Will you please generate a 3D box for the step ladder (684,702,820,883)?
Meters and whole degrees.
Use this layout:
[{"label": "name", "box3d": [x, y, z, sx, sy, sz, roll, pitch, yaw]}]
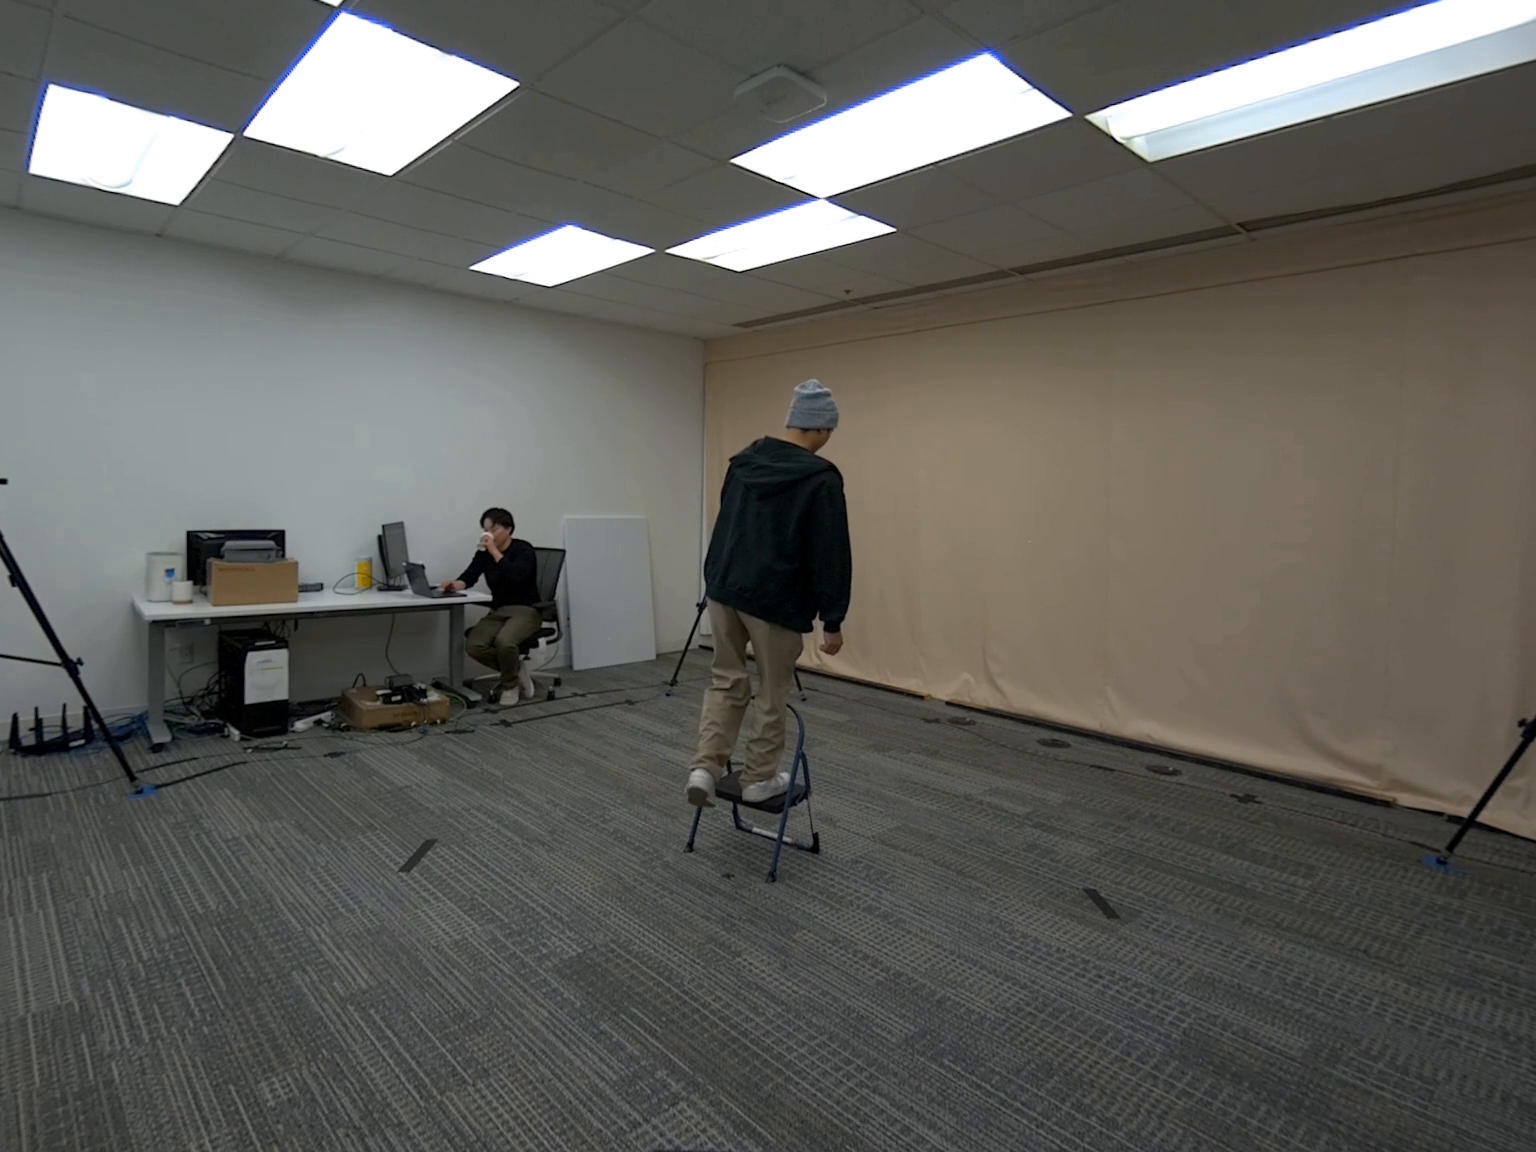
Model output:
[{"label": "step ladder", "box3d": [-0.055, 0.790, 3.307, 0.441, 0.605, 0.341, 4, 4, 36]}]
